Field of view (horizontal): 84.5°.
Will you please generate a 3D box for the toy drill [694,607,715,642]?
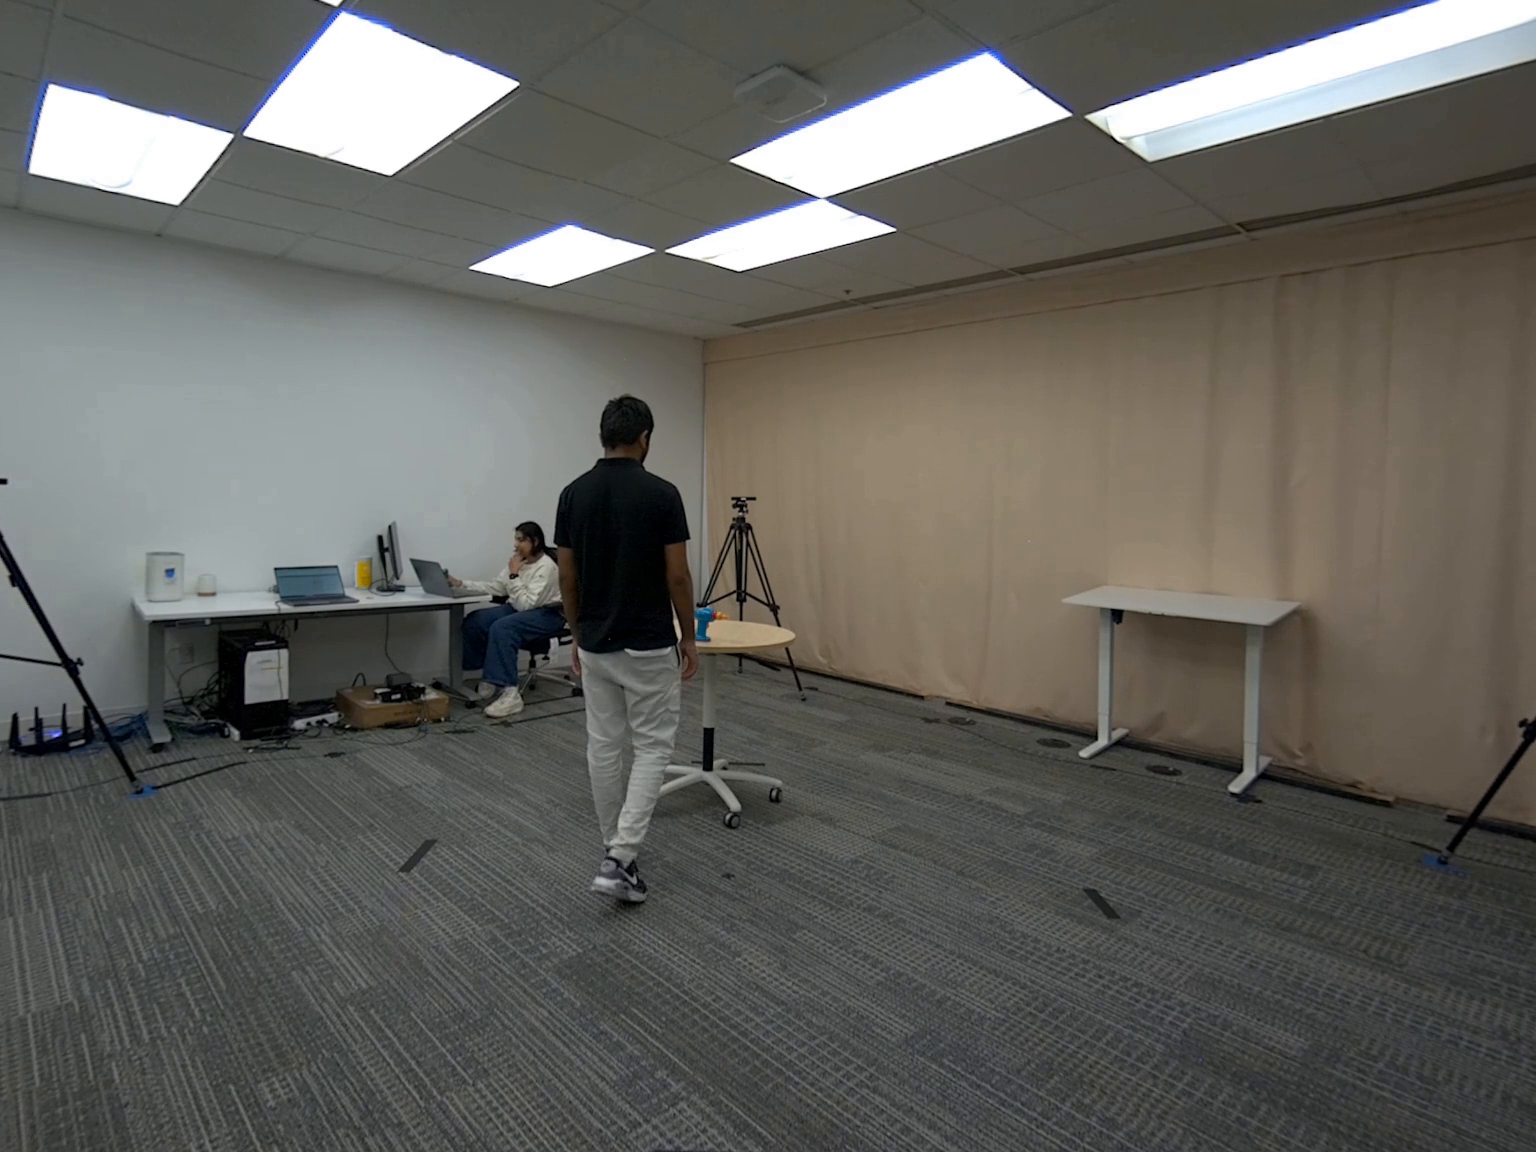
[{"bbox_3d":[-0.253,0.207,3.590,0.172,0.145,0.060,2,4,14],"label":"toy drill"}]
